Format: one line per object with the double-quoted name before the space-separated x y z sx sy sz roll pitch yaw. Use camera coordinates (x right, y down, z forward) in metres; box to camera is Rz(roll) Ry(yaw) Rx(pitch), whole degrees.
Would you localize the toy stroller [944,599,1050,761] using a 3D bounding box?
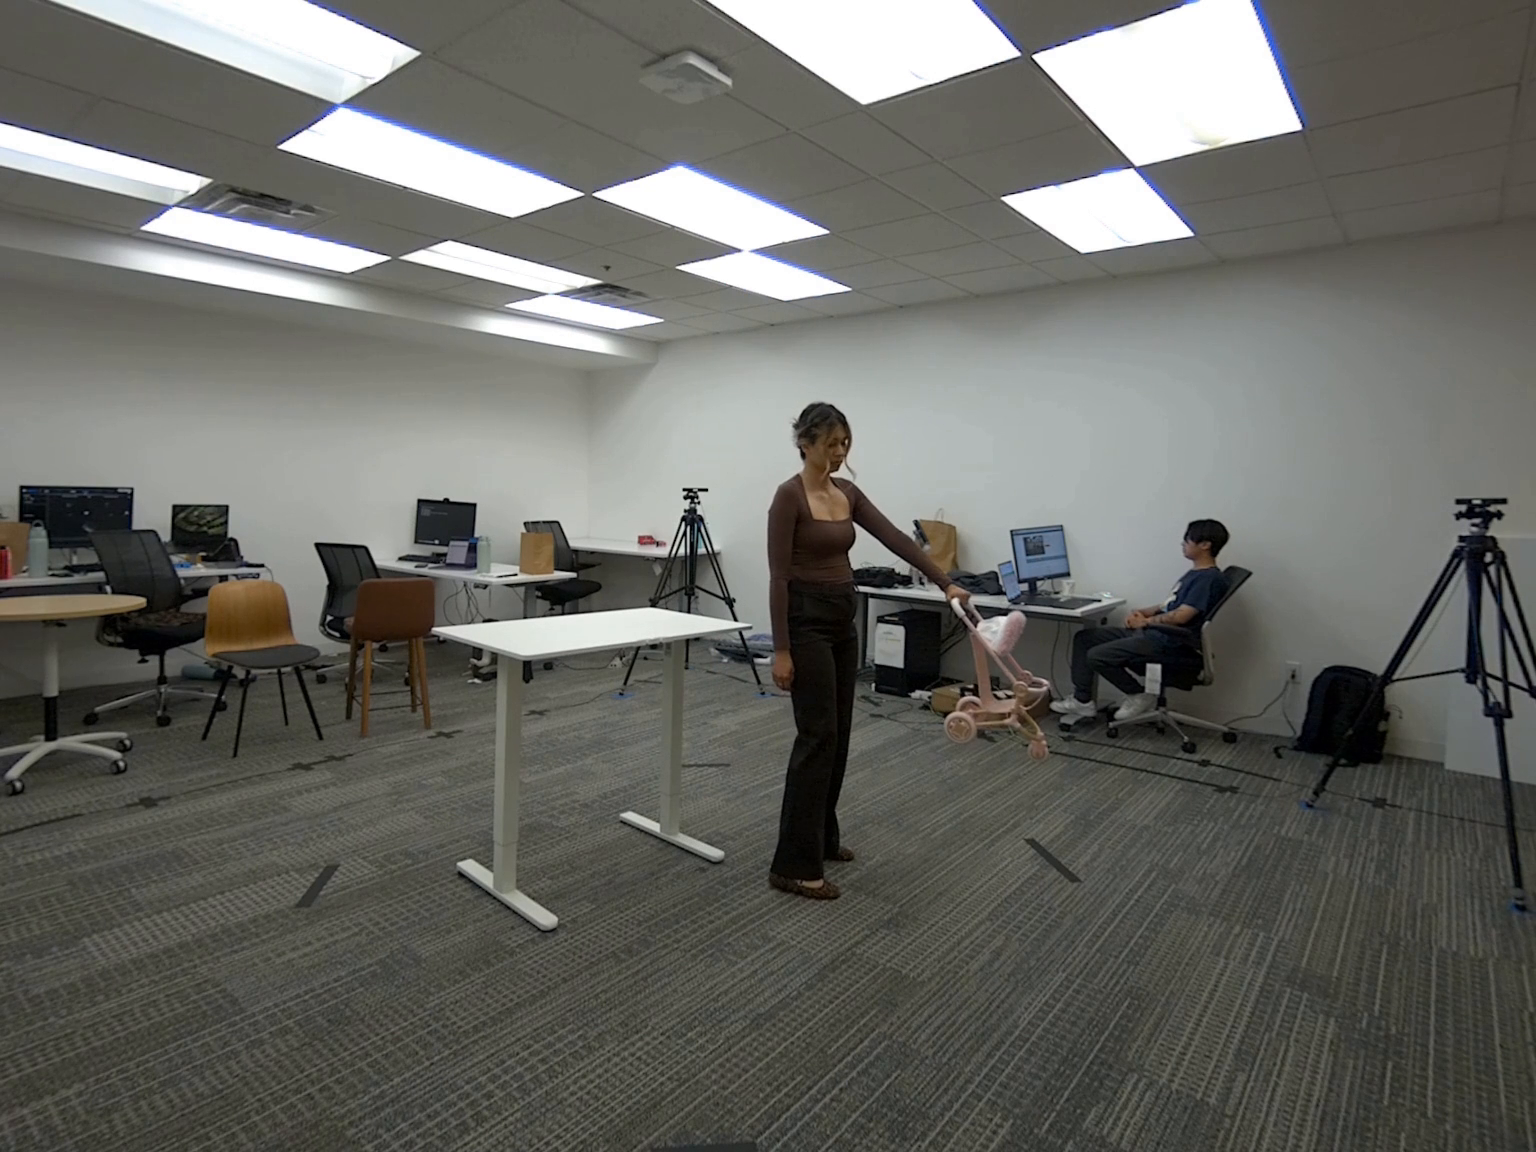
"toy stroller" 0.788 0.351 2.918 0.351 0.533 0.274 4 4 27
